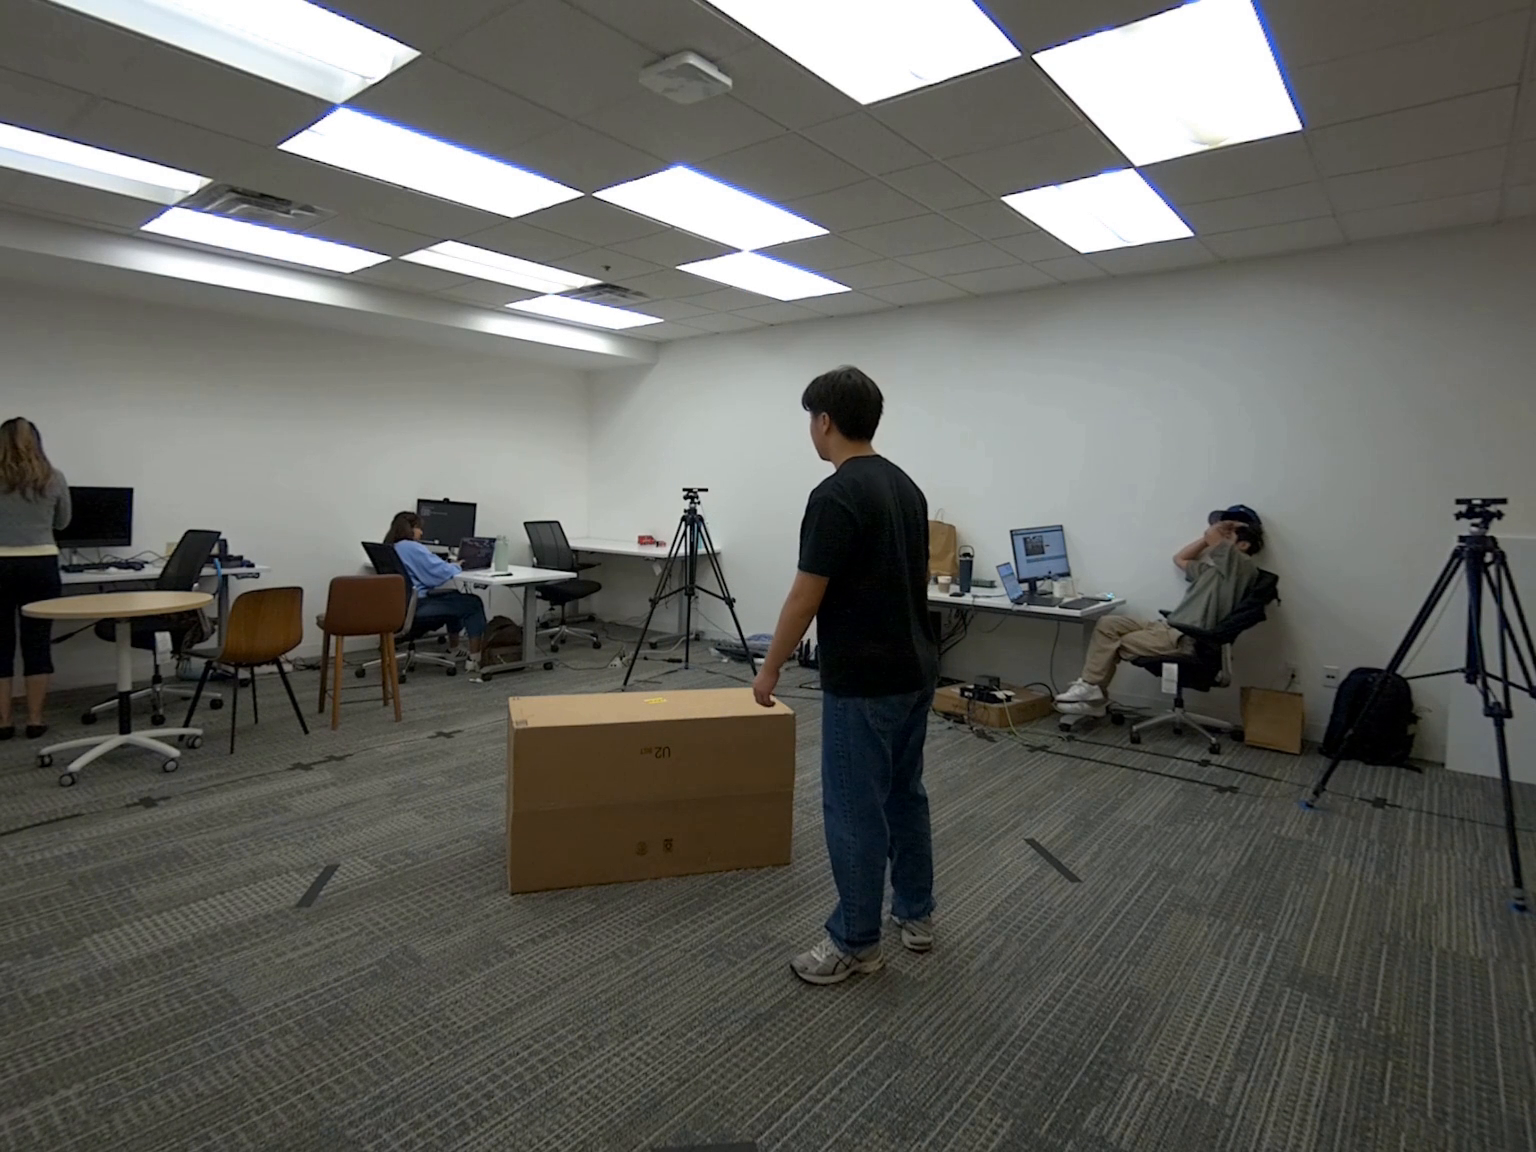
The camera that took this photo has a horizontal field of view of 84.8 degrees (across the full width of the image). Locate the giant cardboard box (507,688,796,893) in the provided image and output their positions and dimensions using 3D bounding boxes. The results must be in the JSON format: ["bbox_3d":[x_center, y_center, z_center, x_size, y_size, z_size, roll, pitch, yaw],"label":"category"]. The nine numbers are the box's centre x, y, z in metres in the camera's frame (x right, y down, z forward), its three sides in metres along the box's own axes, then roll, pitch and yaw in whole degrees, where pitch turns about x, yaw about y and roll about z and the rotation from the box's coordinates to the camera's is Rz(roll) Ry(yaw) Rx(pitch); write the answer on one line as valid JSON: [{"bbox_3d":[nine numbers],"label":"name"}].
[{"bbox_3d":[-0.463,0.766,3.212,1.008,0.583,0.456,0,3,-18],"label":"giant cardboard box"}]
